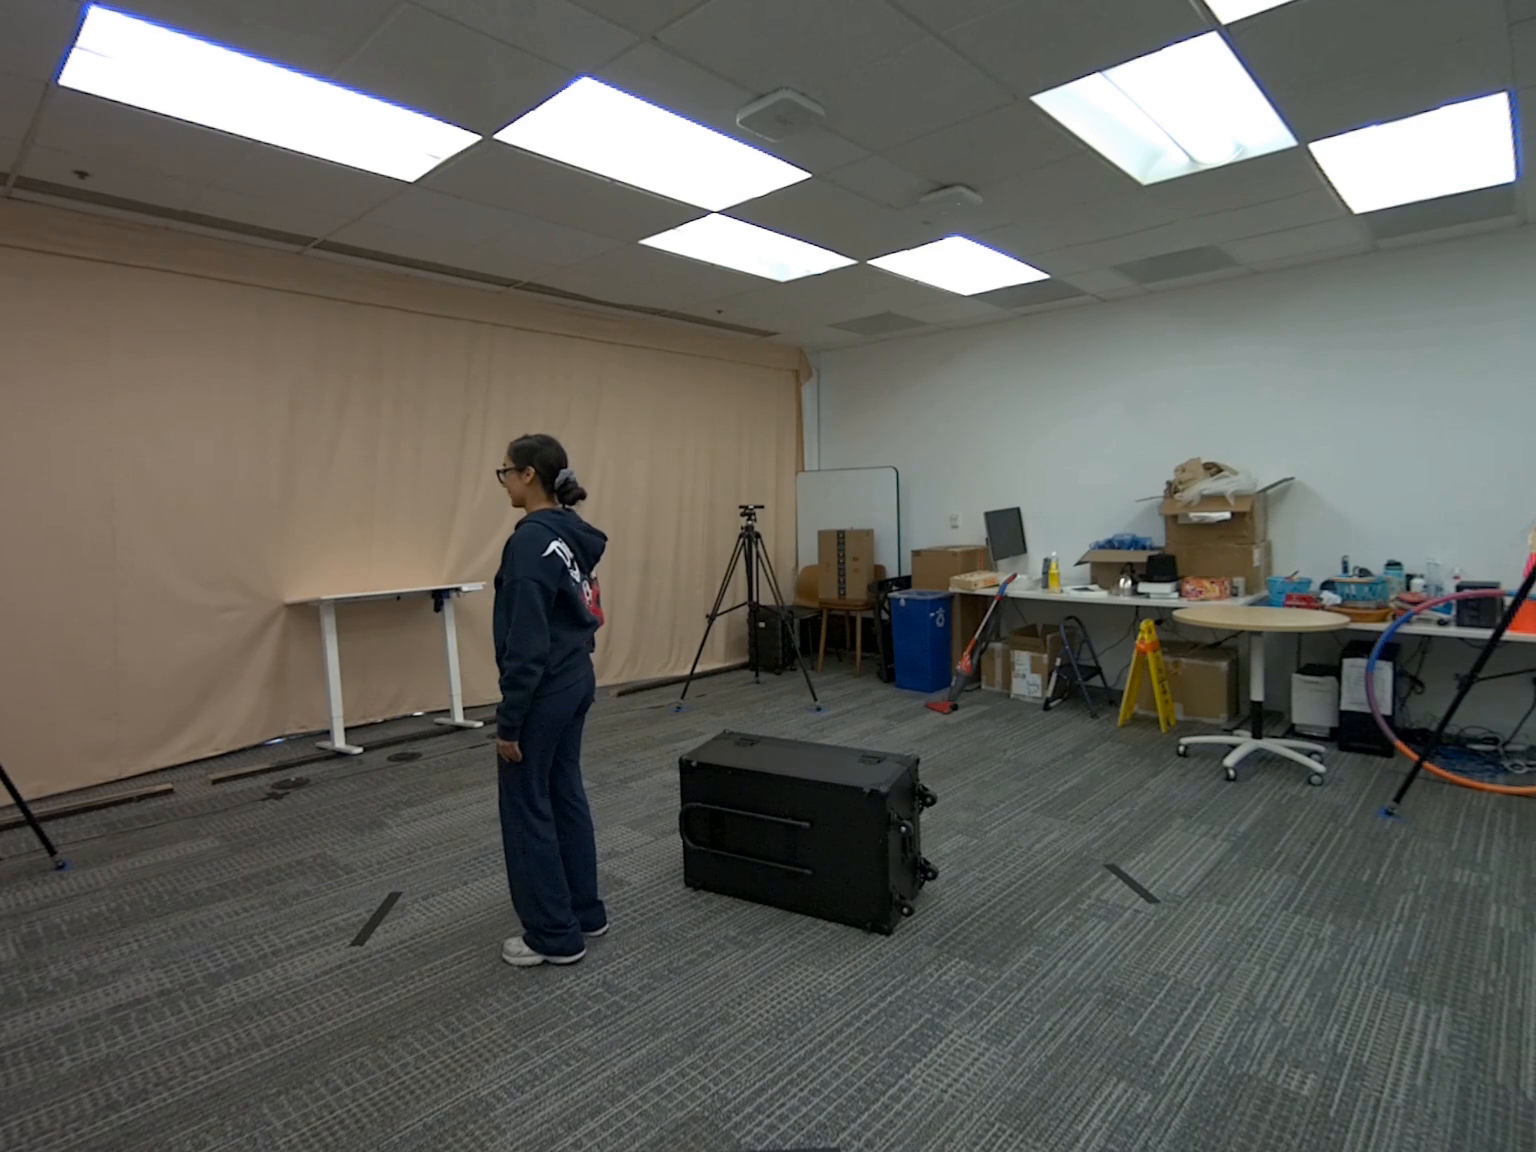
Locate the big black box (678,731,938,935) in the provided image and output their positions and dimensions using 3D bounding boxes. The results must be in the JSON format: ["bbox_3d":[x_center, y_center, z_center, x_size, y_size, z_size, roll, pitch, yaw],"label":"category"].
[{"bbox_3d":[0.135,0.880,2.995,0.885,0.519,0.387,1,7,28],"label":"big black box"}]
